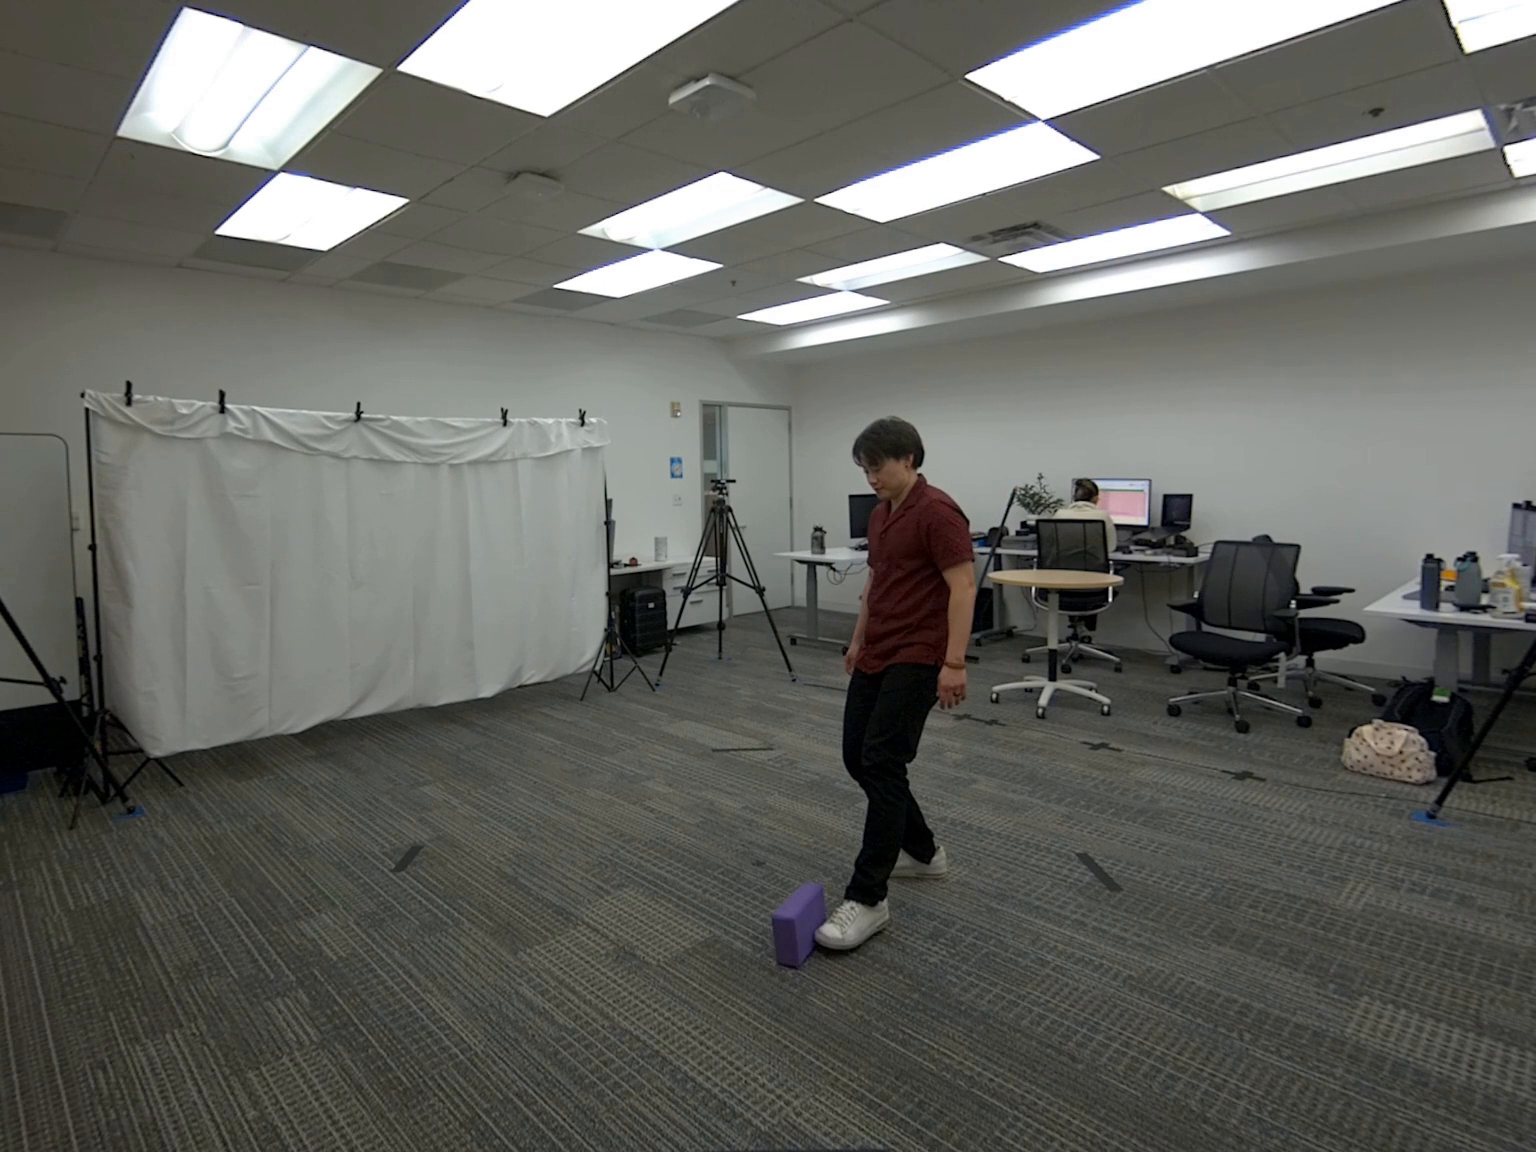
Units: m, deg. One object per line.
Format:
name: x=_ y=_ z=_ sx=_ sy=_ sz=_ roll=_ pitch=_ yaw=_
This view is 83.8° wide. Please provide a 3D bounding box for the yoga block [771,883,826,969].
yoga block: x=0.093 y=1.033 z=2.542 sx=0.078 sy=0.148 sz=0.225 roll=-4 pitch=5 yaw=25
